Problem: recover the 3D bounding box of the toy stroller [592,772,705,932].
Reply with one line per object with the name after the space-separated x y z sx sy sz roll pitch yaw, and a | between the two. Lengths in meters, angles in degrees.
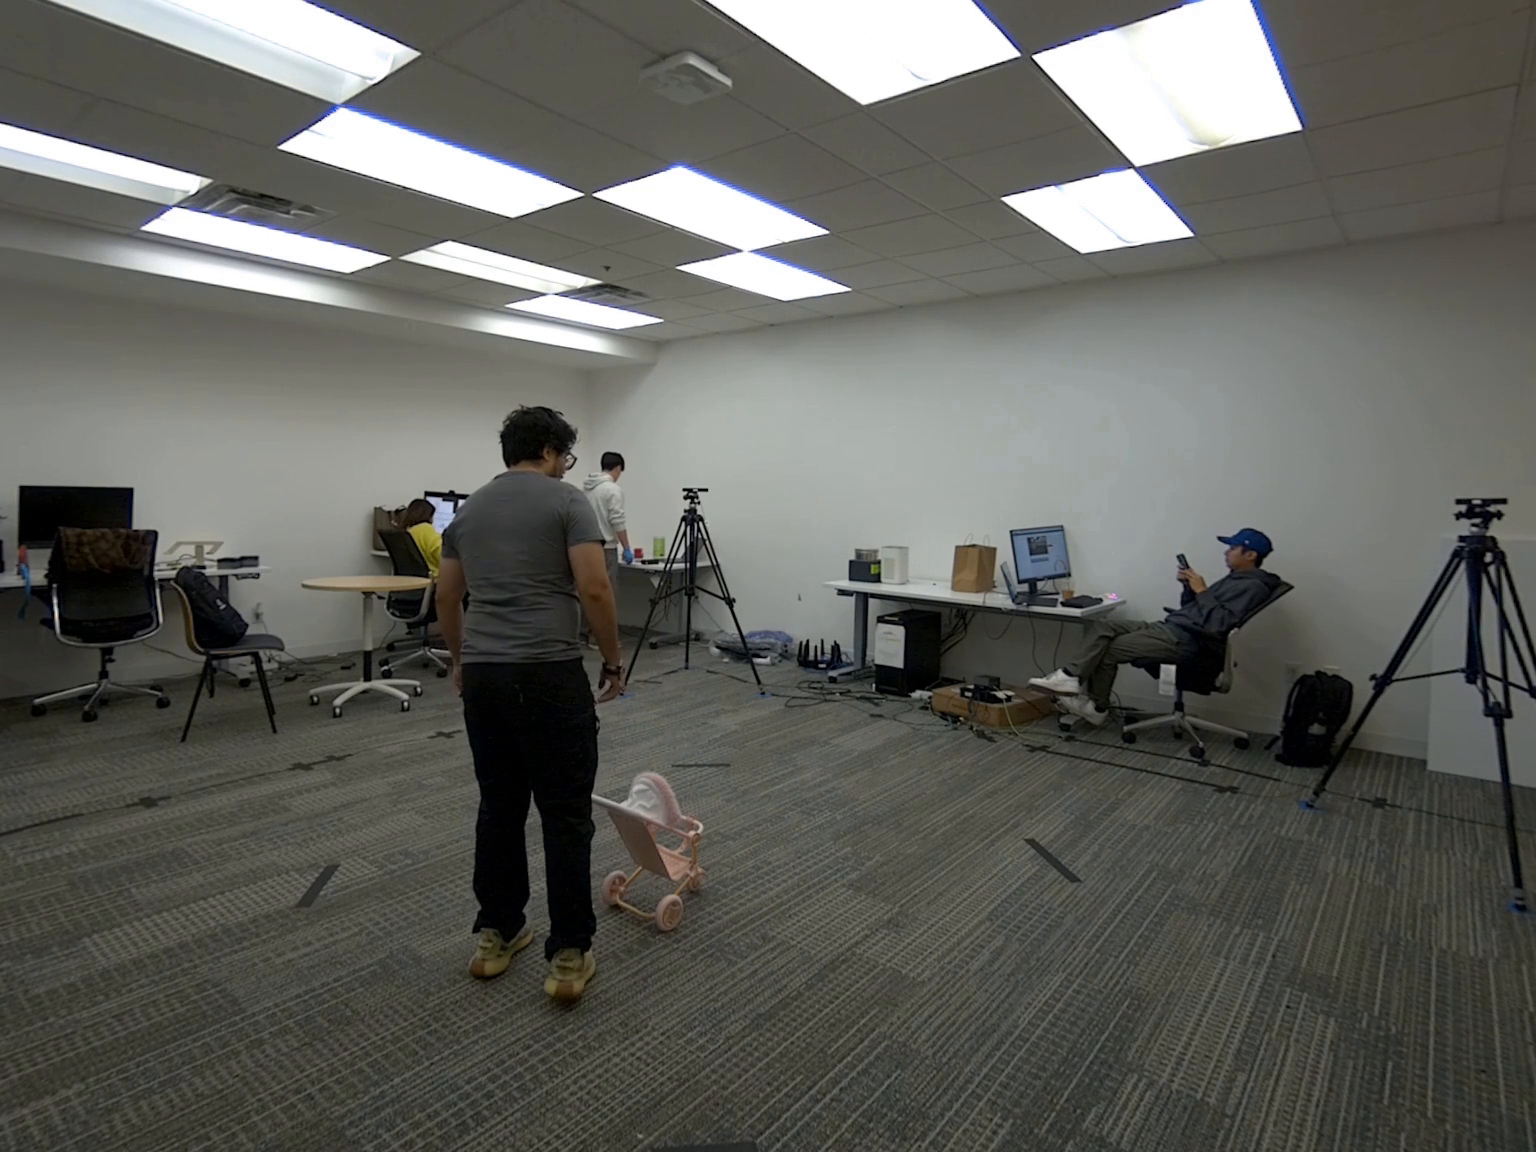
-0.376 0.875 2.787 0.291 0.526 0.335 4 21 43 | toy stroller
